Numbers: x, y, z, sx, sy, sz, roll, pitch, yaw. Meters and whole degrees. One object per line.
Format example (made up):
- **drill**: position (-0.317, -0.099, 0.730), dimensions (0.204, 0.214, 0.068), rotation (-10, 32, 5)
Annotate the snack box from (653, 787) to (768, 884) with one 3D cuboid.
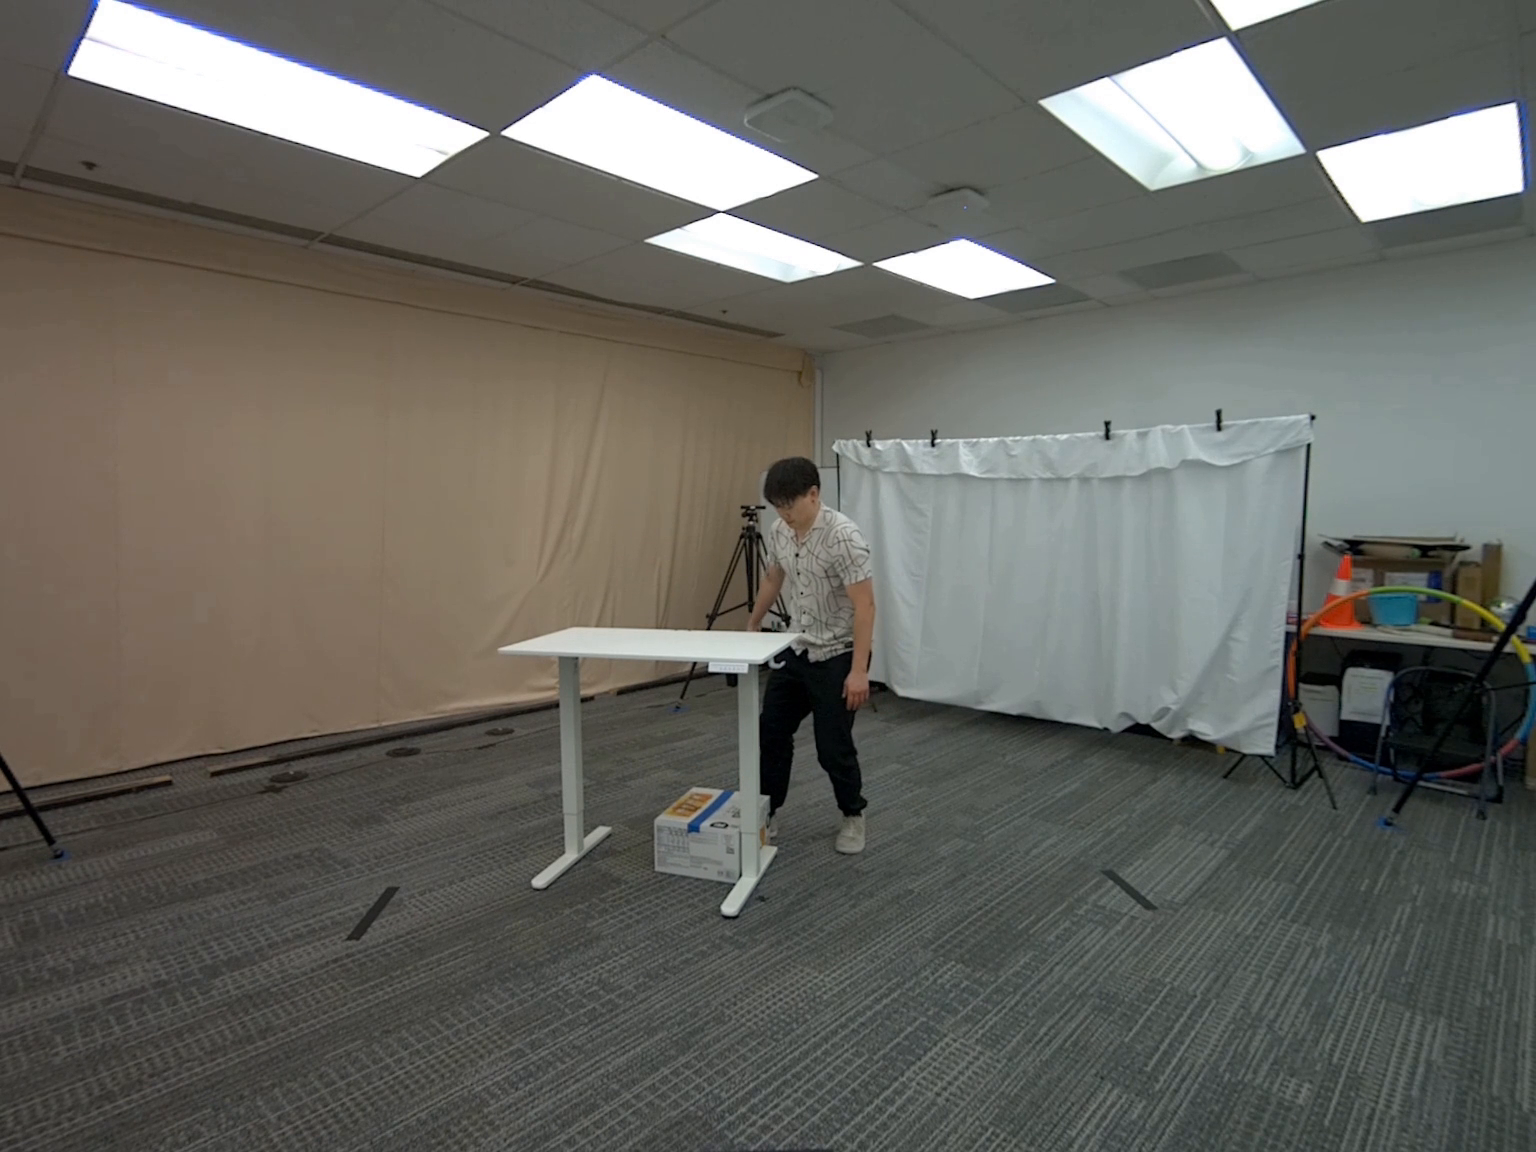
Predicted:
- **snack box**: position (-0.209, 1.014, 3.324), dimensions (0.347, 0.205, 0.398), rotation (0, 4, 18)
